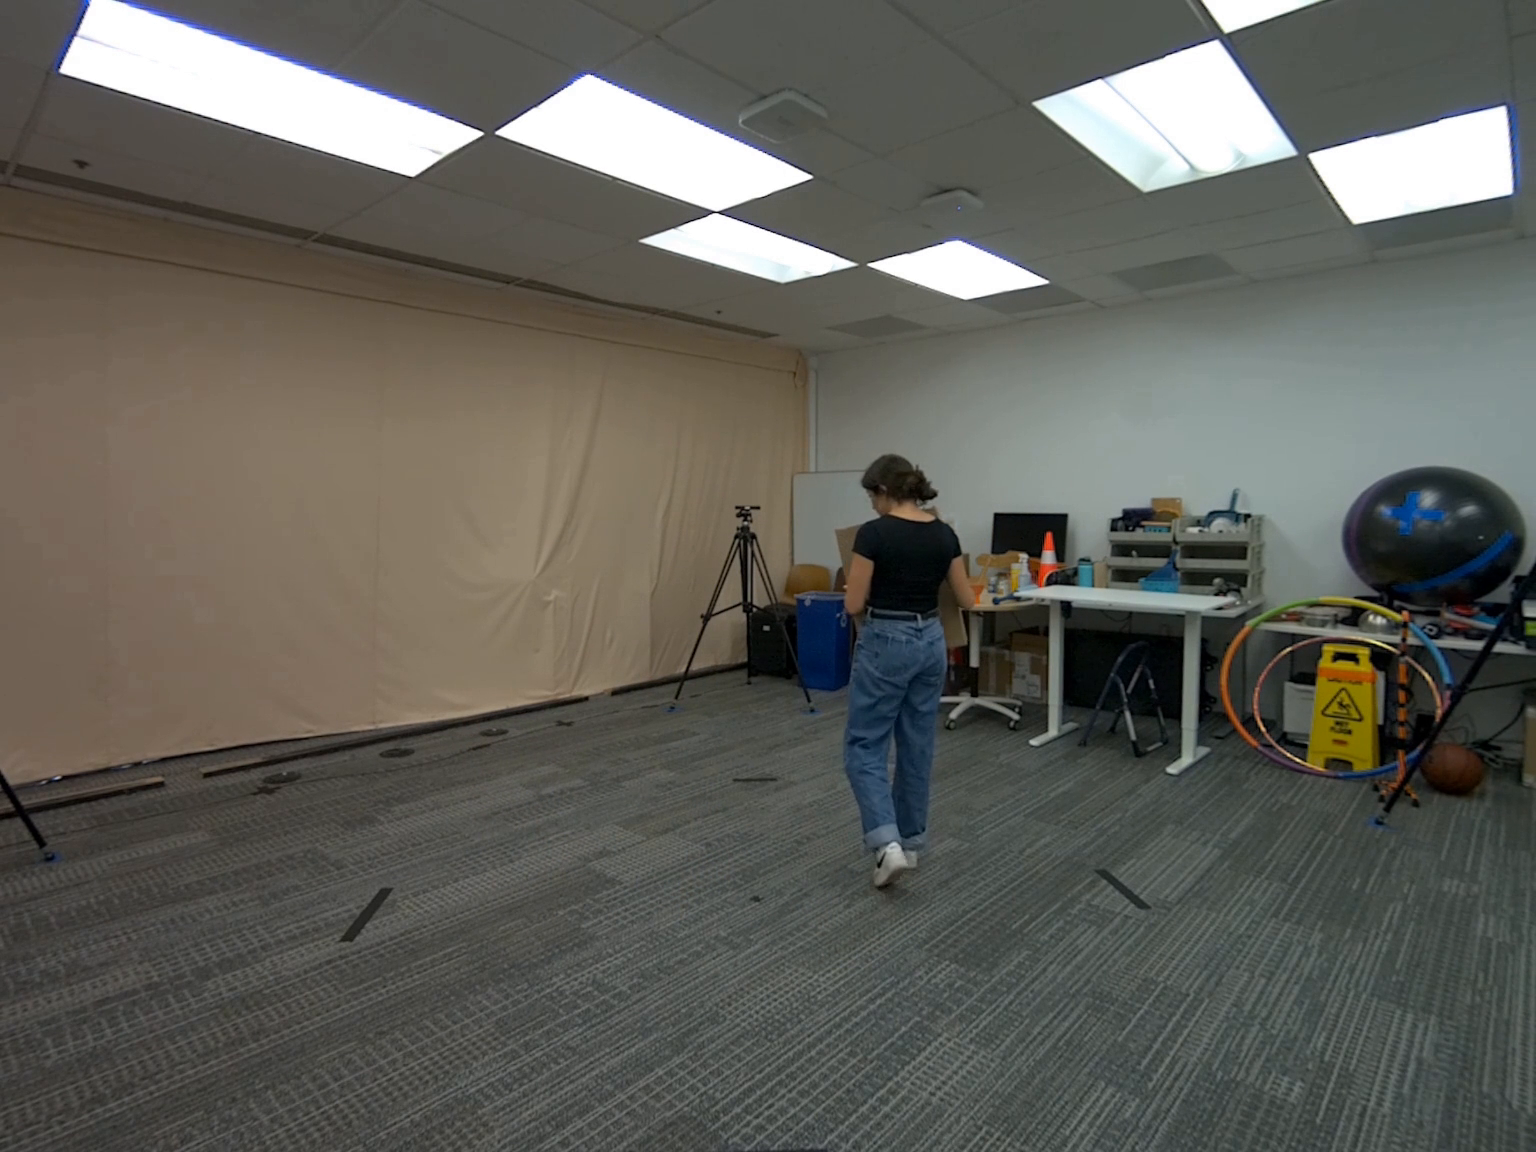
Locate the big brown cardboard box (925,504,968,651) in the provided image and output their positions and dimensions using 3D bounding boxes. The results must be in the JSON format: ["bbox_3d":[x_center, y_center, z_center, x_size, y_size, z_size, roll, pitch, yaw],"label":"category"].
[{"bbox_3d":[0.553,0.031,3.482,0.423,0.590,0.229,-12,-3,15],"label":"big brown cardboard box"}]
